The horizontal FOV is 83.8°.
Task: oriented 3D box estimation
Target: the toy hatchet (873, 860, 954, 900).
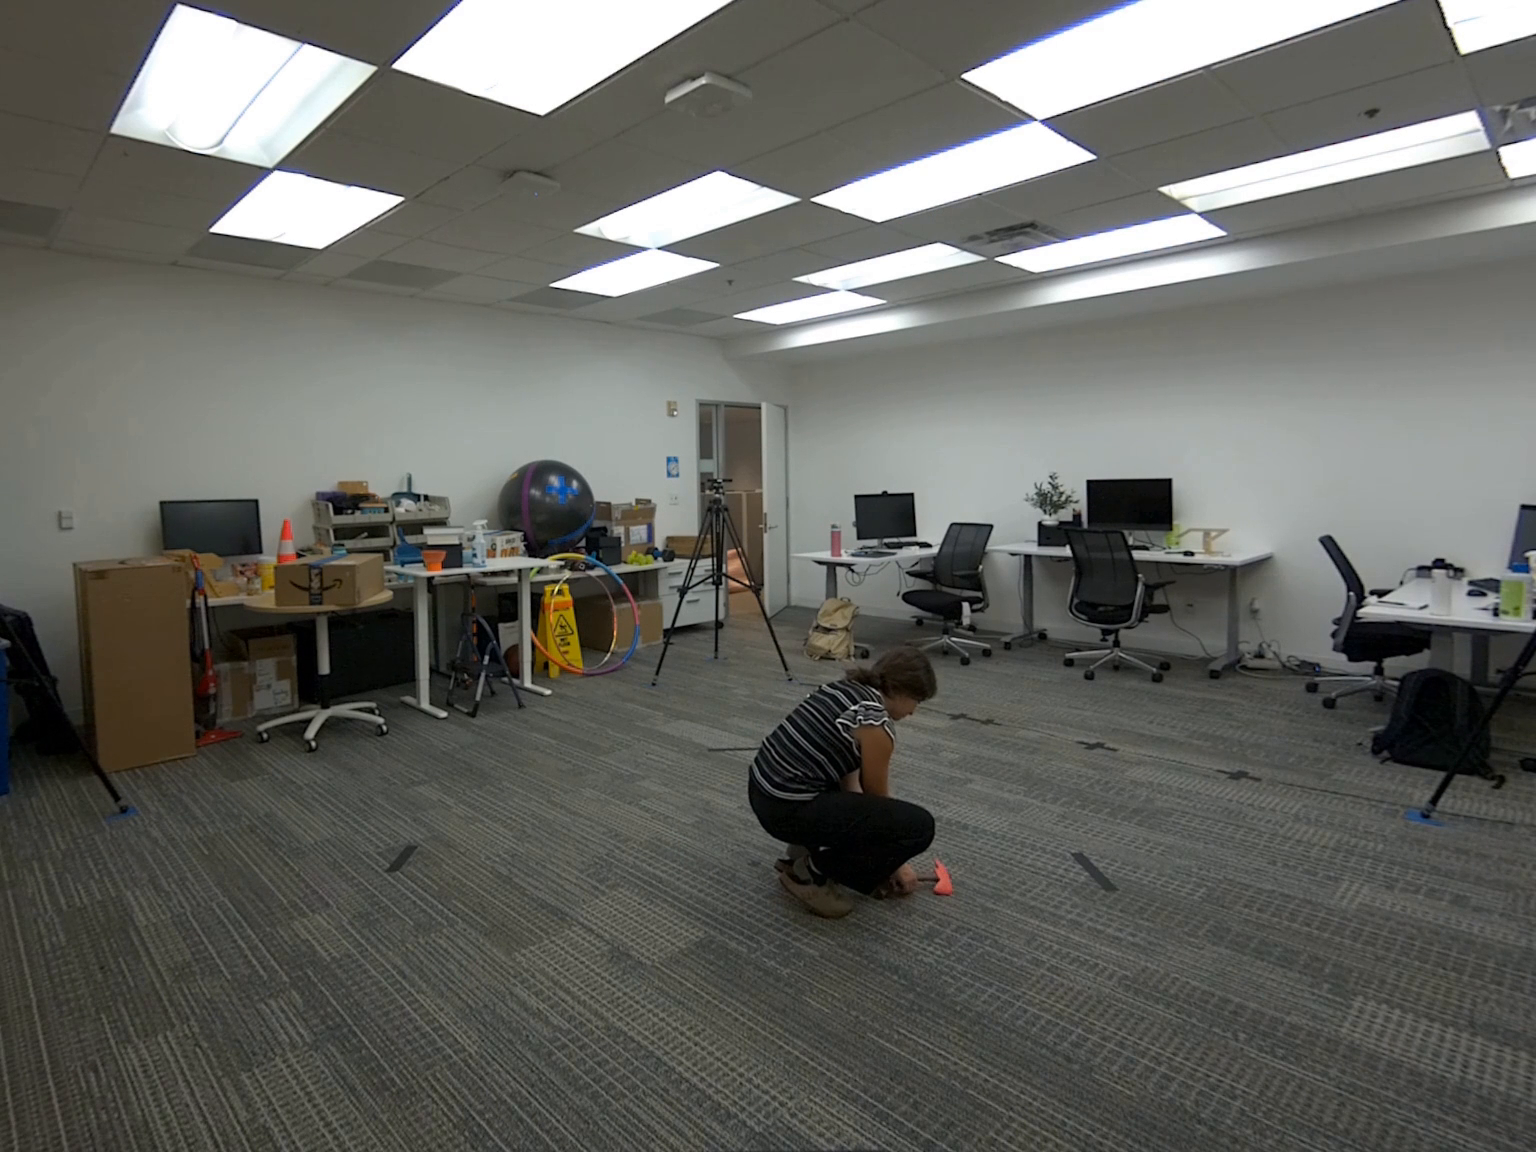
[{"bbox_3d":[0.496,1.041,2.853,0.265,0.029,0.136,-11,31,-26],"label":"toy hatchet"}]
